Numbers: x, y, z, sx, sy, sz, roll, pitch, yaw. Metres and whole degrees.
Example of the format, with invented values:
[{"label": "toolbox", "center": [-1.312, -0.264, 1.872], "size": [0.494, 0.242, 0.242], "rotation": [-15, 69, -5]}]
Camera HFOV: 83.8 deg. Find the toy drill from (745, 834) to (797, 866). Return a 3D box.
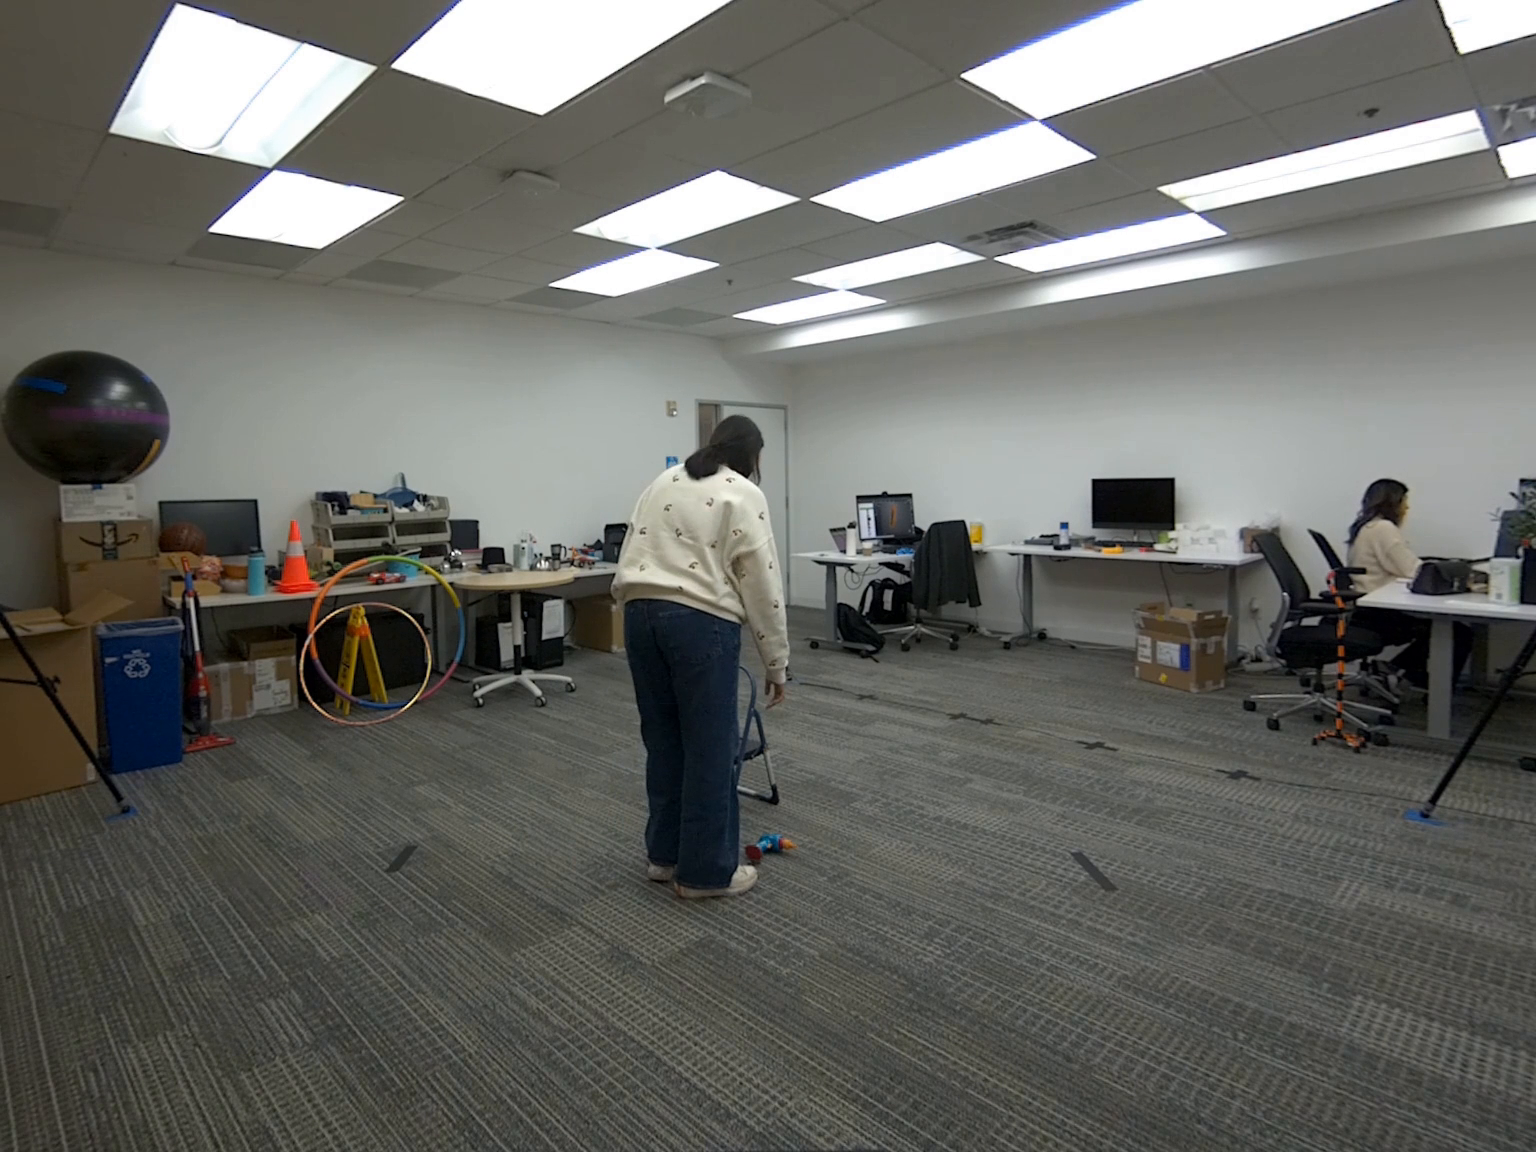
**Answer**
[{"label": "toy drill", "center": [0.017, 1.010, 3.172], "size": [0.174, 0.061, 0.142], "rotation": [-2, 4, 37]}]
